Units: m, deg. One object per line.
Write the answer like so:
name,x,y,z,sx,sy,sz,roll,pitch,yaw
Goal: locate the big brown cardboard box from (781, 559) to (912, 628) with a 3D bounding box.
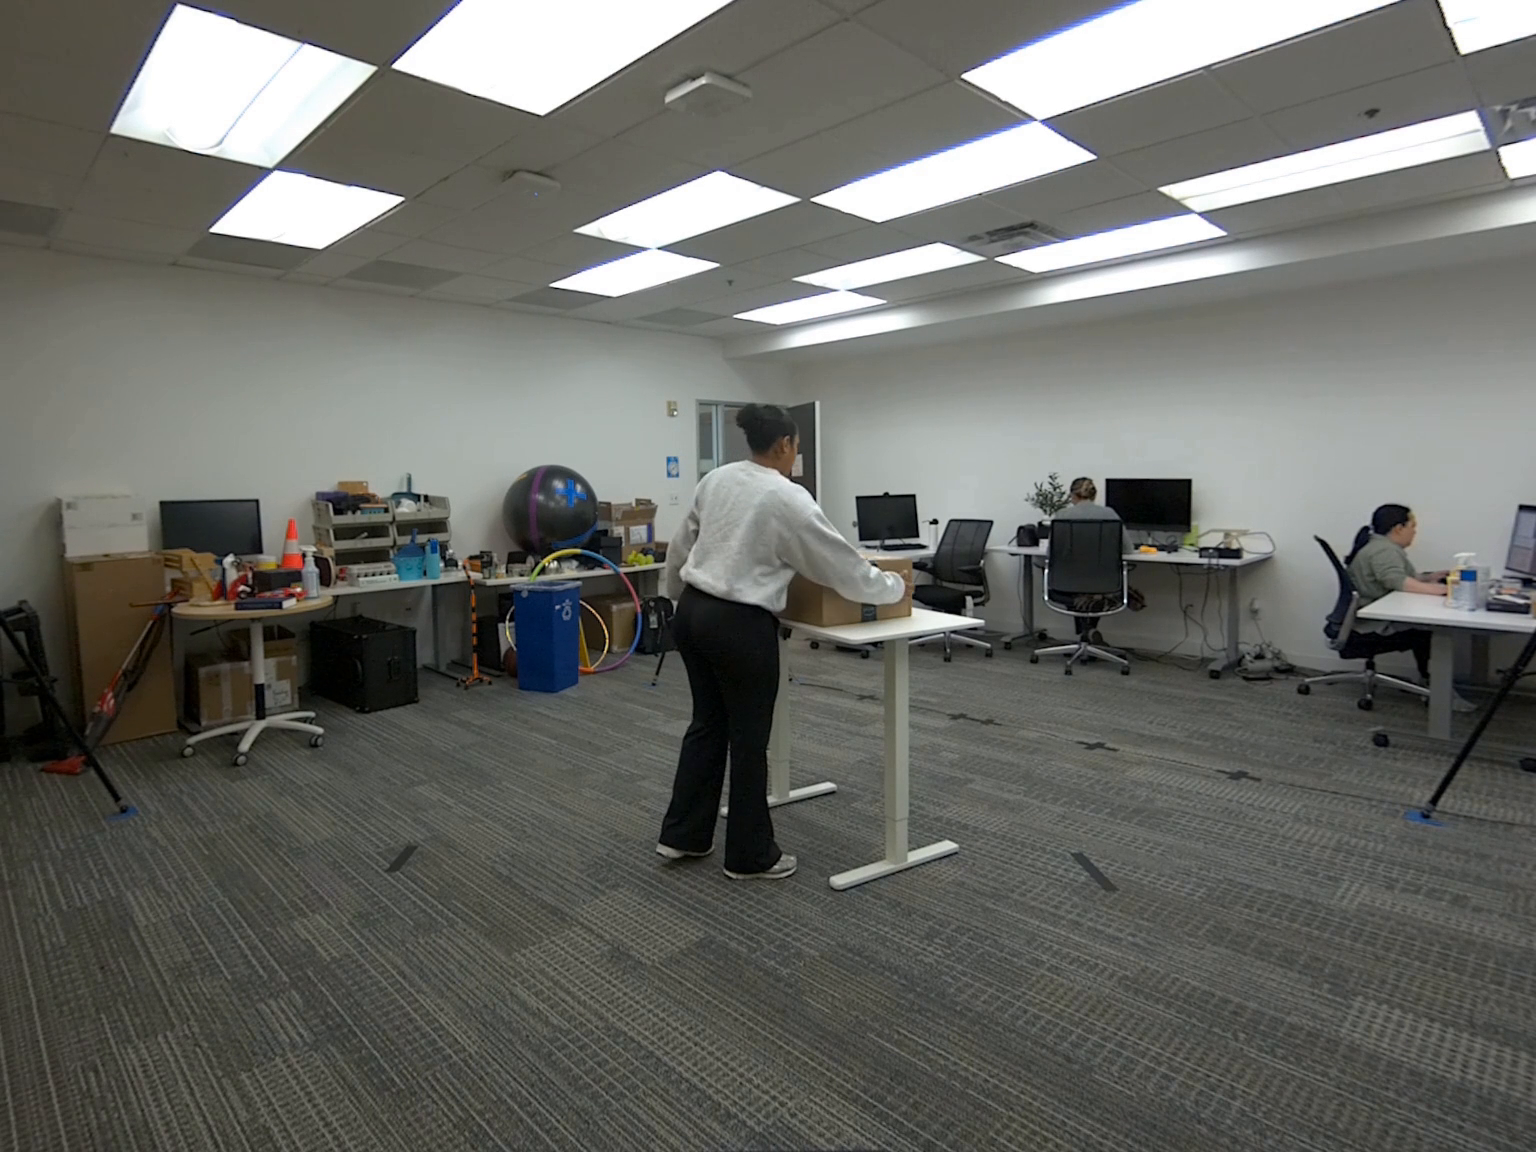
big brown cardboard box,0.202,0.029,3.276,0.407,0.232,0.606,-5,7,-33
